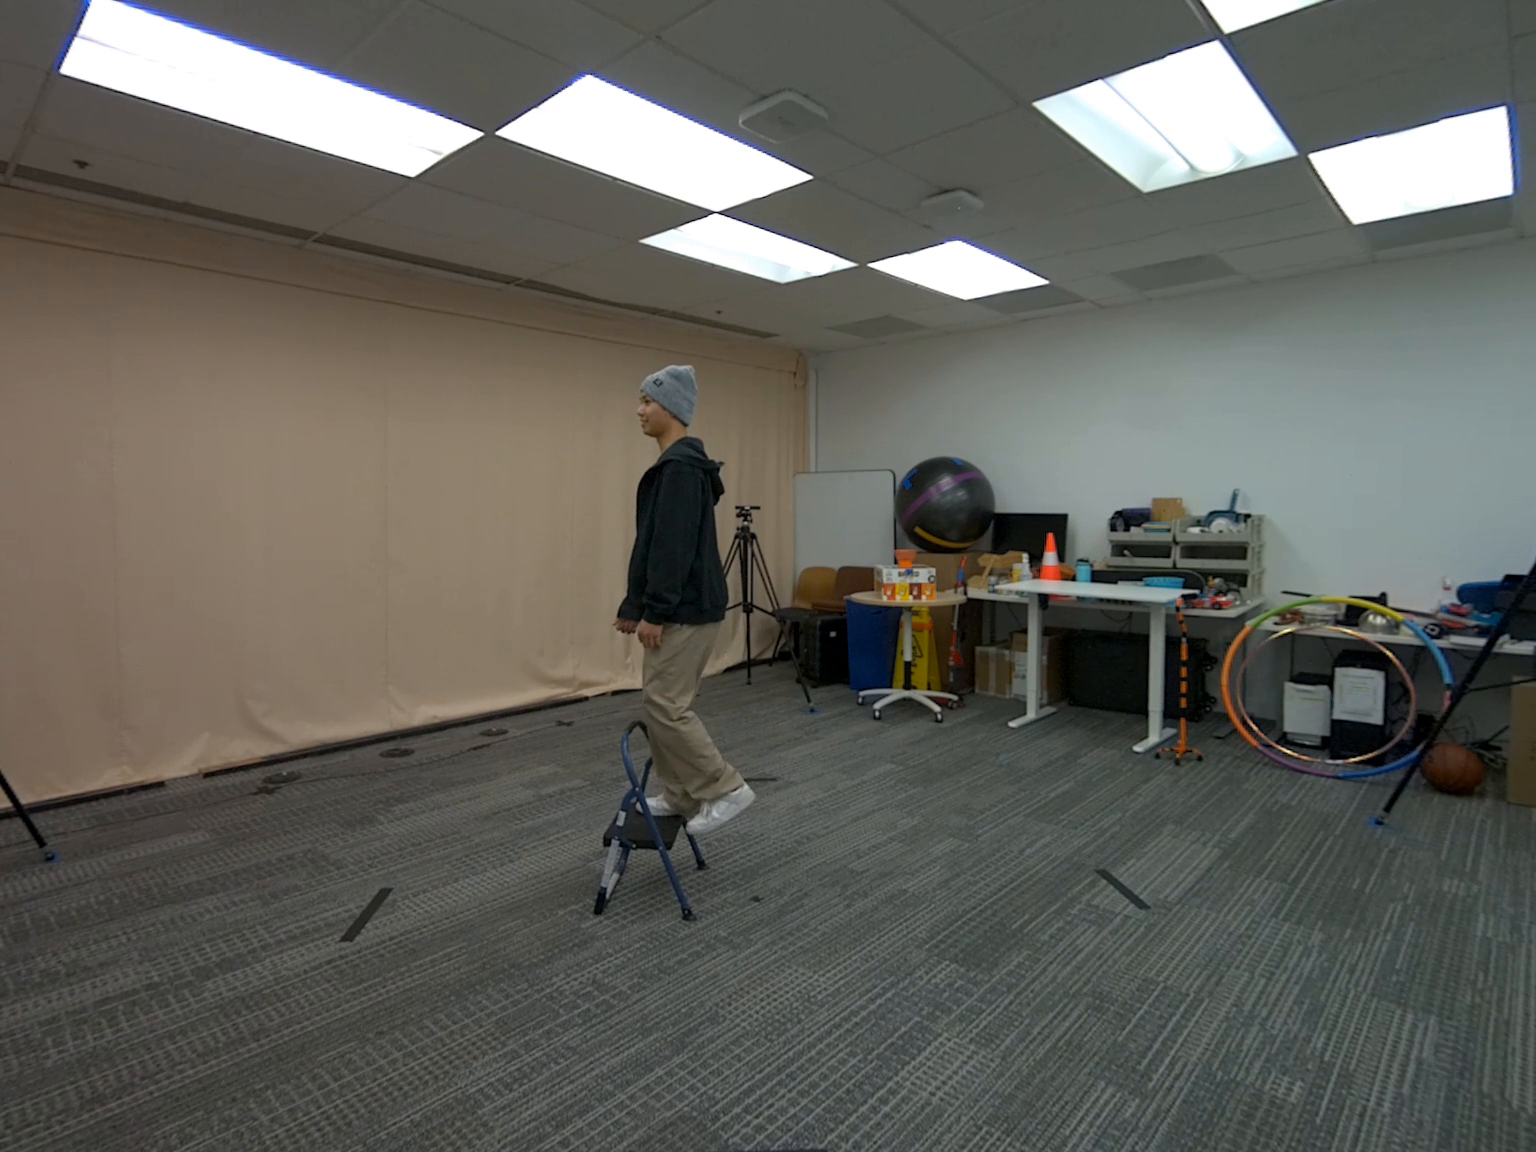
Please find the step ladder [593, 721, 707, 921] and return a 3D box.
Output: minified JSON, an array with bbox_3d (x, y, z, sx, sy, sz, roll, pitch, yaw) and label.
[{"bbox_3d":[-0.416,0.846,3.041,0.351,0.605,0.429,1,3,3],"label":"step ladder"}]
